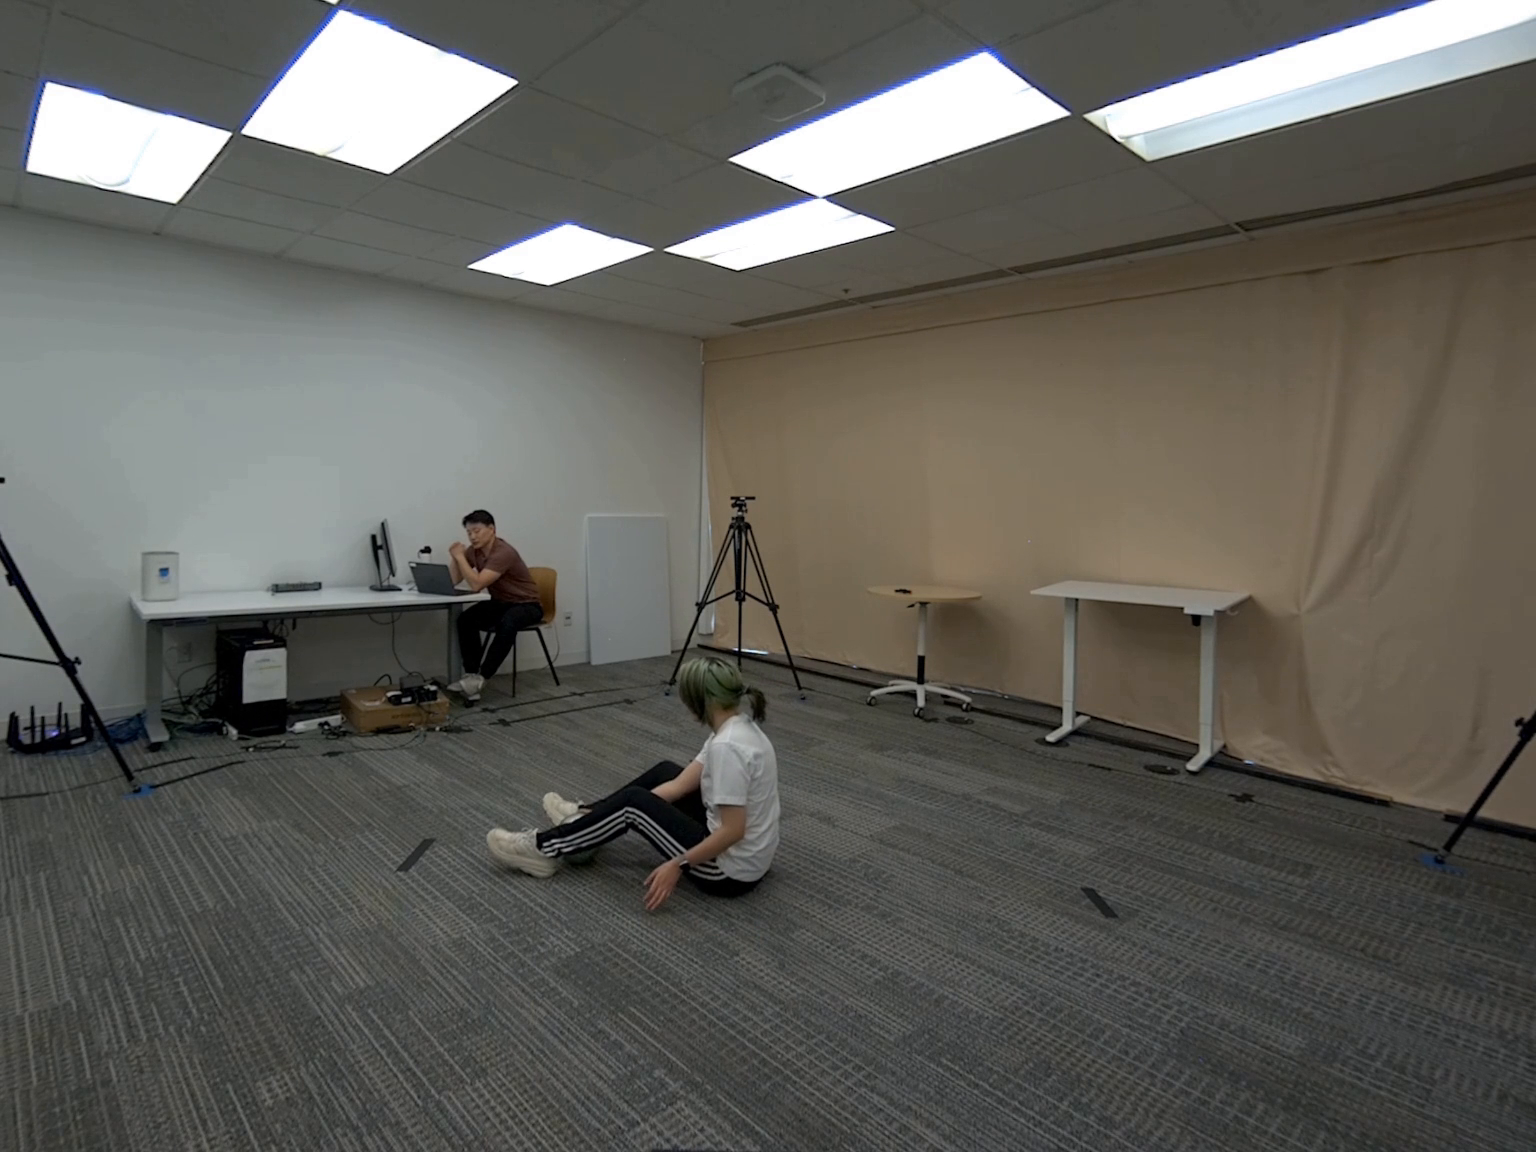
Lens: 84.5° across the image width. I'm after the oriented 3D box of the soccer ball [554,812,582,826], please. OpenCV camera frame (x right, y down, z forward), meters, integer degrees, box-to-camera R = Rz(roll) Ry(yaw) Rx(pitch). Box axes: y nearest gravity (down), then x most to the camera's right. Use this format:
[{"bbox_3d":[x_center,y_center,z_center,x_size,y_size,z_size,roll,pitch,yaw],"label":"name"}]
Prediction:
[{"bbox_3d":[-0.714,0.995,3.180,0.187,0.187,0.188,1,4,-1],"label":"soccer ball"}]
